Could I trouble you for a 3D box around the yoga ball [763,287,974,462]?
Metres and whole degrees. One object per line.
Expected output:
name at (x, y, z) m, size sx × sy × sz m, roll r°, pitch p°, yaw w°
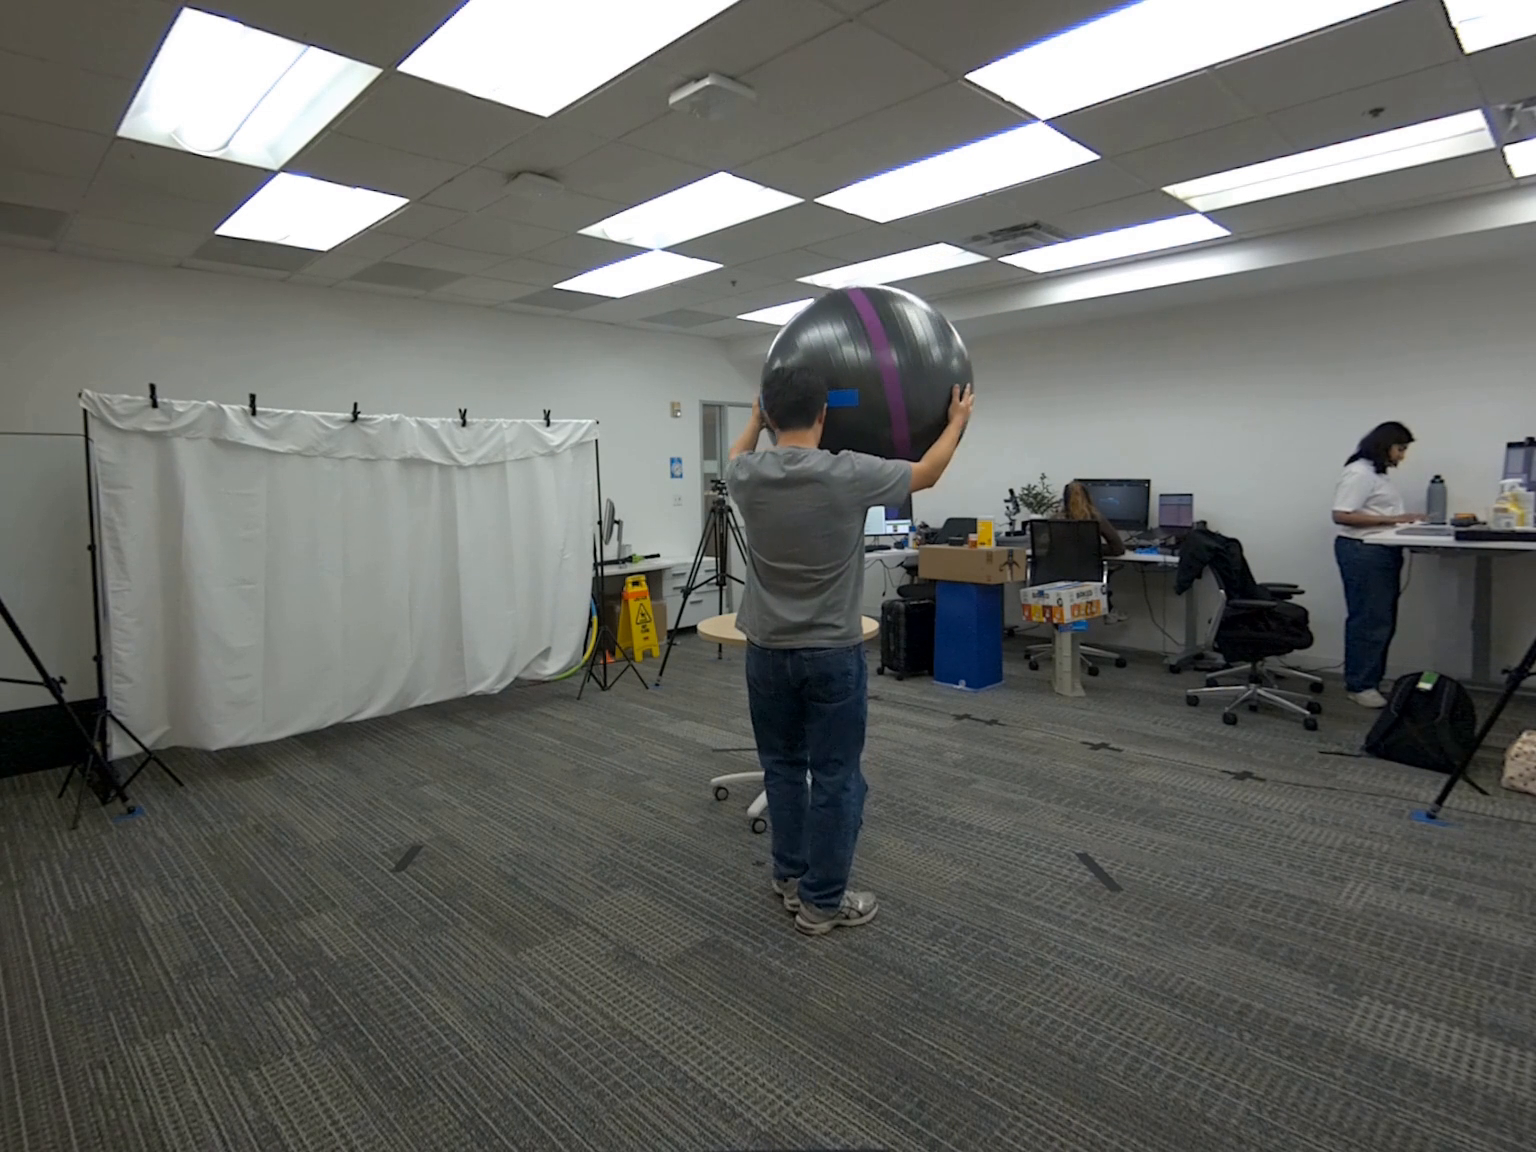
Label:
yoga ball at (0.345, -0.653, 3.085) m, size 0.757 × 0.755 × 0.762 m, roll -1°, pitch 5°, yaw -2°
